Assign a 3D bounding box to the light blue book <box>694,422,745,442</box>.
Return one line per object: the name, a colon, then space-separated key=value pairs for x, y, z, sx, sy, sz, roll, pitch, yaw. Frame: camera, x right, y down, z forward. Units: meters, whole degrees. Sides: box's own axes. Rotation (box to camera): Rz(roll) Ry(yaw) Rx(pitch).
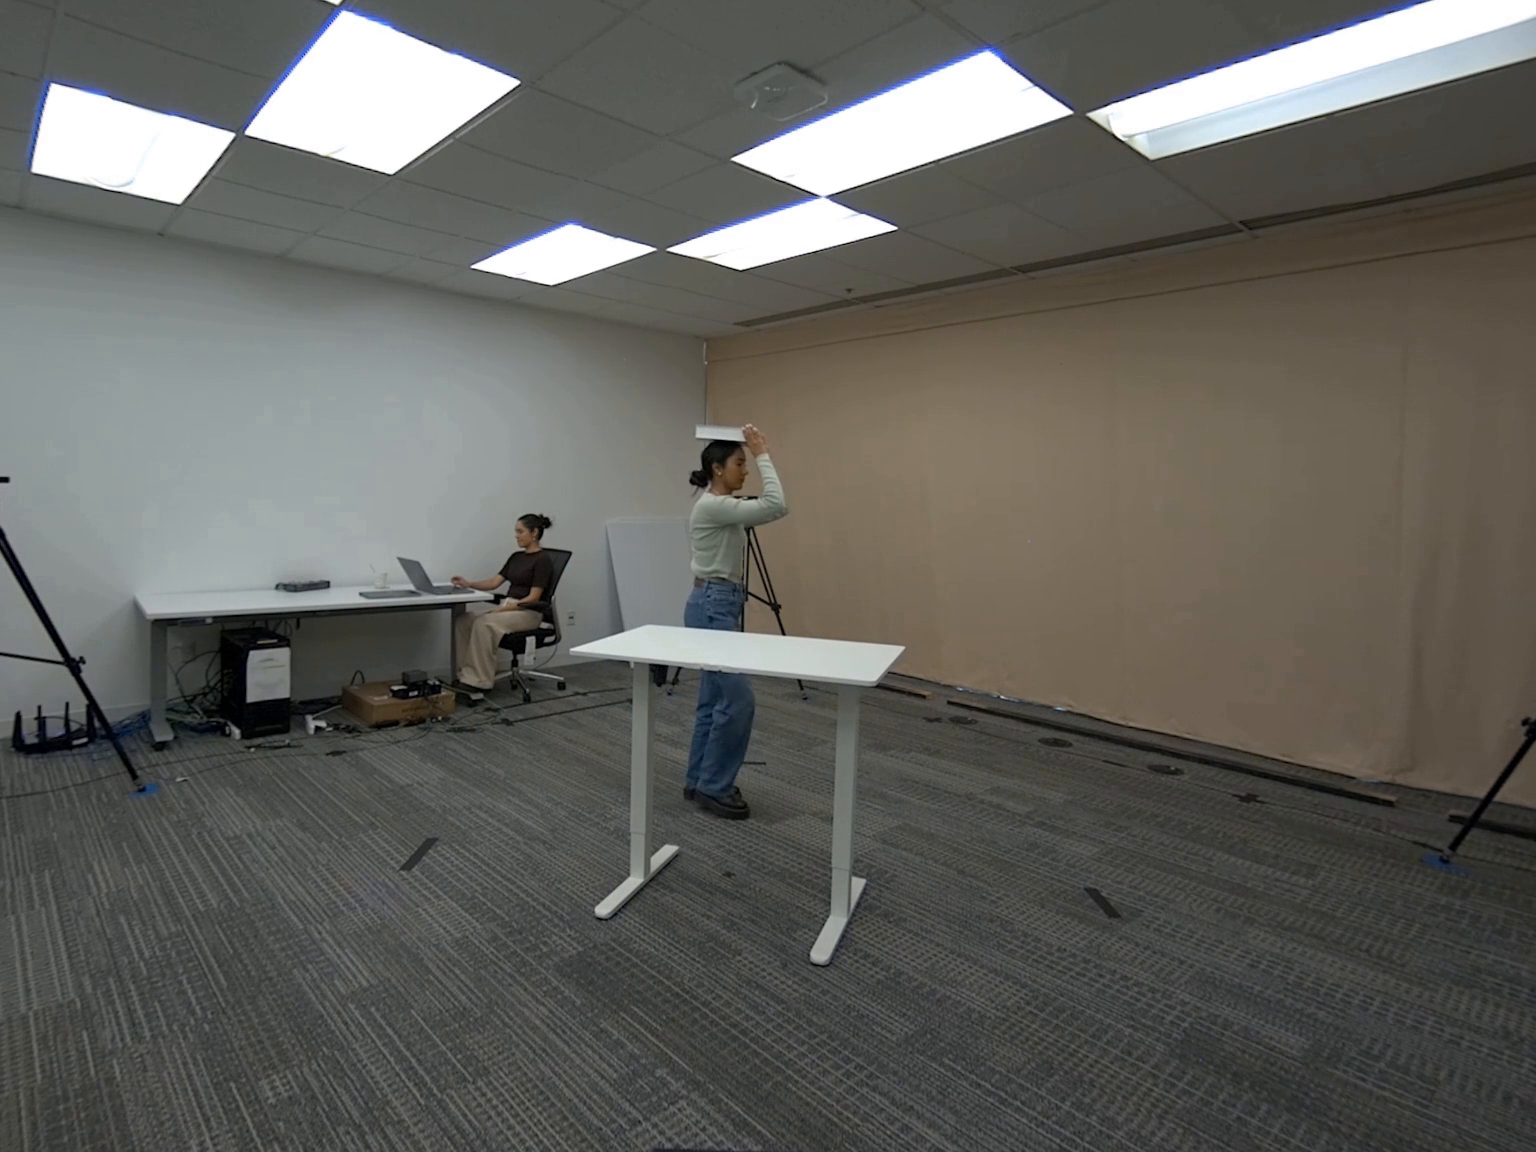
light blue book: x=-0.180 y=-0.634 z=3.784 sx=0.263 sy=0.059 sz=0.190 roll=6 pitch=2 yaw=11
